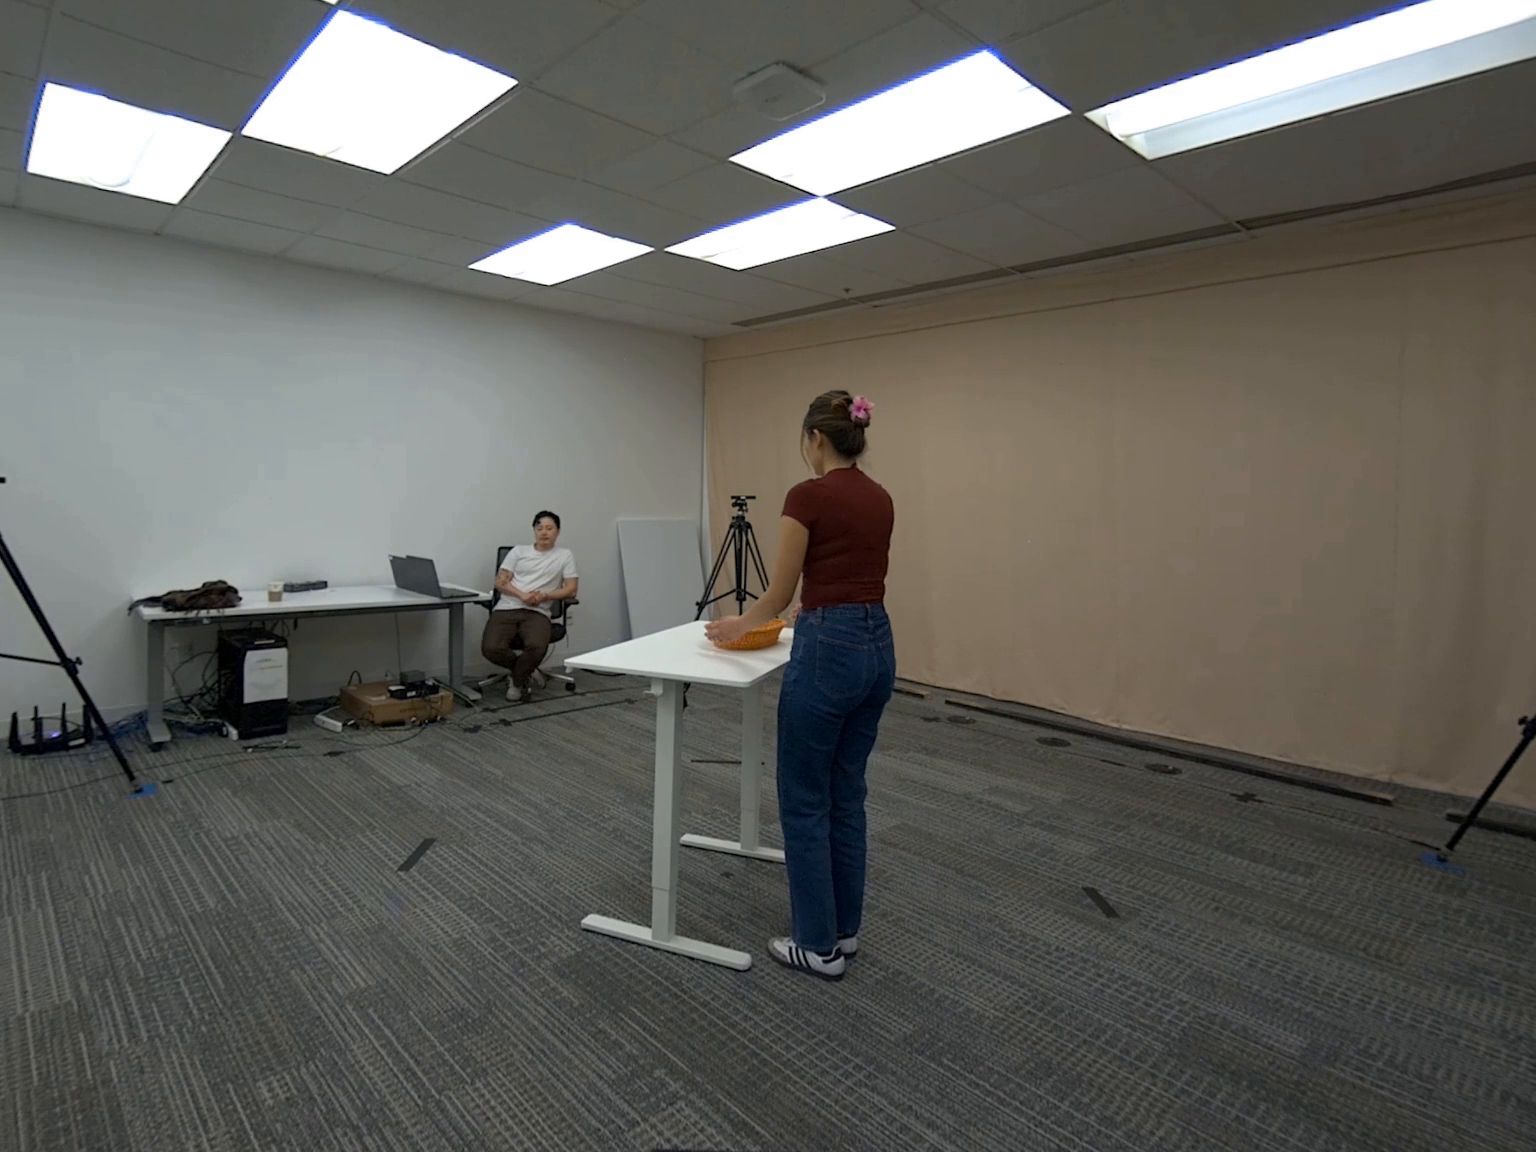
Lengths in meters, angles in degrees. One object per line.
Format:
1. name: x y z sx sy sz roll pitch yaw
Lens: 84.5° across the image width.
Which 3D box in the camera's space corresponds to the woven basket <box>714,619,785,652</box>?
1. woven basket: -0.078 0.209 2.927 0.257 0.073 0.345 2 4 24
